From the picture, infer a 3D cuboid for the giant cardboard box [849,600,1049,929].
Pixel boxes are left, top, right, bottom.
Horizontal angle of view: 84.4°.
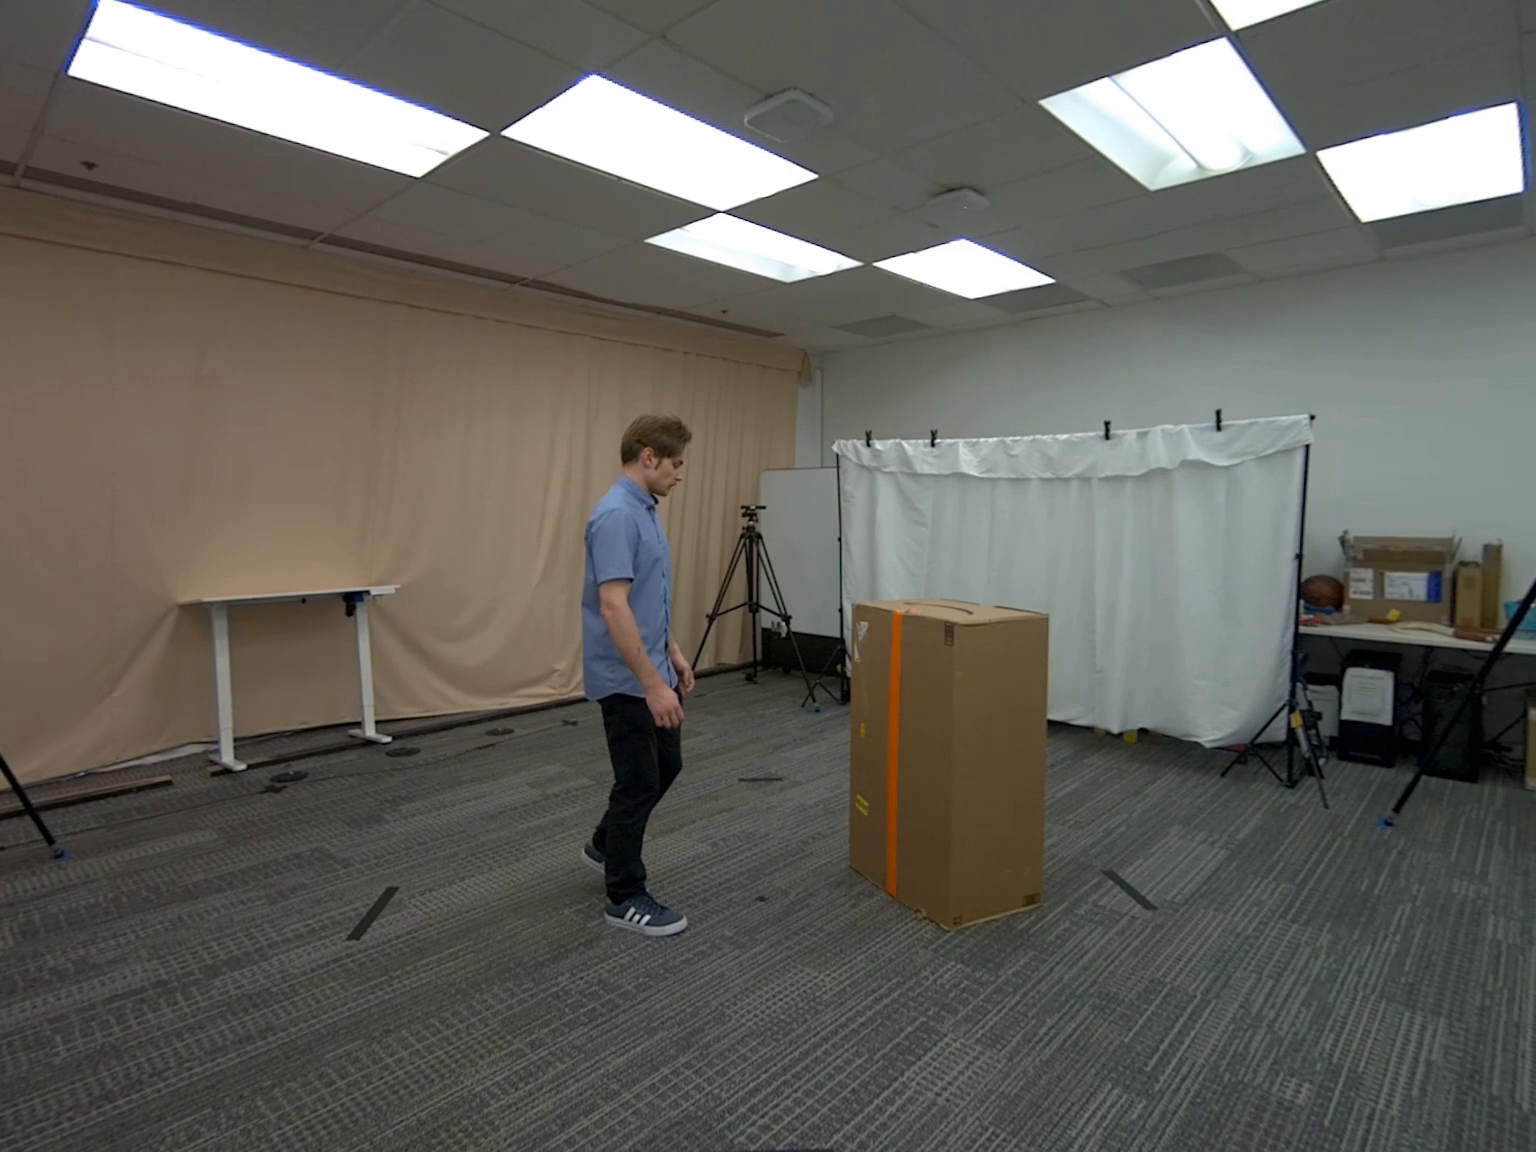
[{"bbox_3d":[0.639,0.624,3.063,0.415,1.024,0.594,-1,4,-29],"label":"giant cardboard box"}]
